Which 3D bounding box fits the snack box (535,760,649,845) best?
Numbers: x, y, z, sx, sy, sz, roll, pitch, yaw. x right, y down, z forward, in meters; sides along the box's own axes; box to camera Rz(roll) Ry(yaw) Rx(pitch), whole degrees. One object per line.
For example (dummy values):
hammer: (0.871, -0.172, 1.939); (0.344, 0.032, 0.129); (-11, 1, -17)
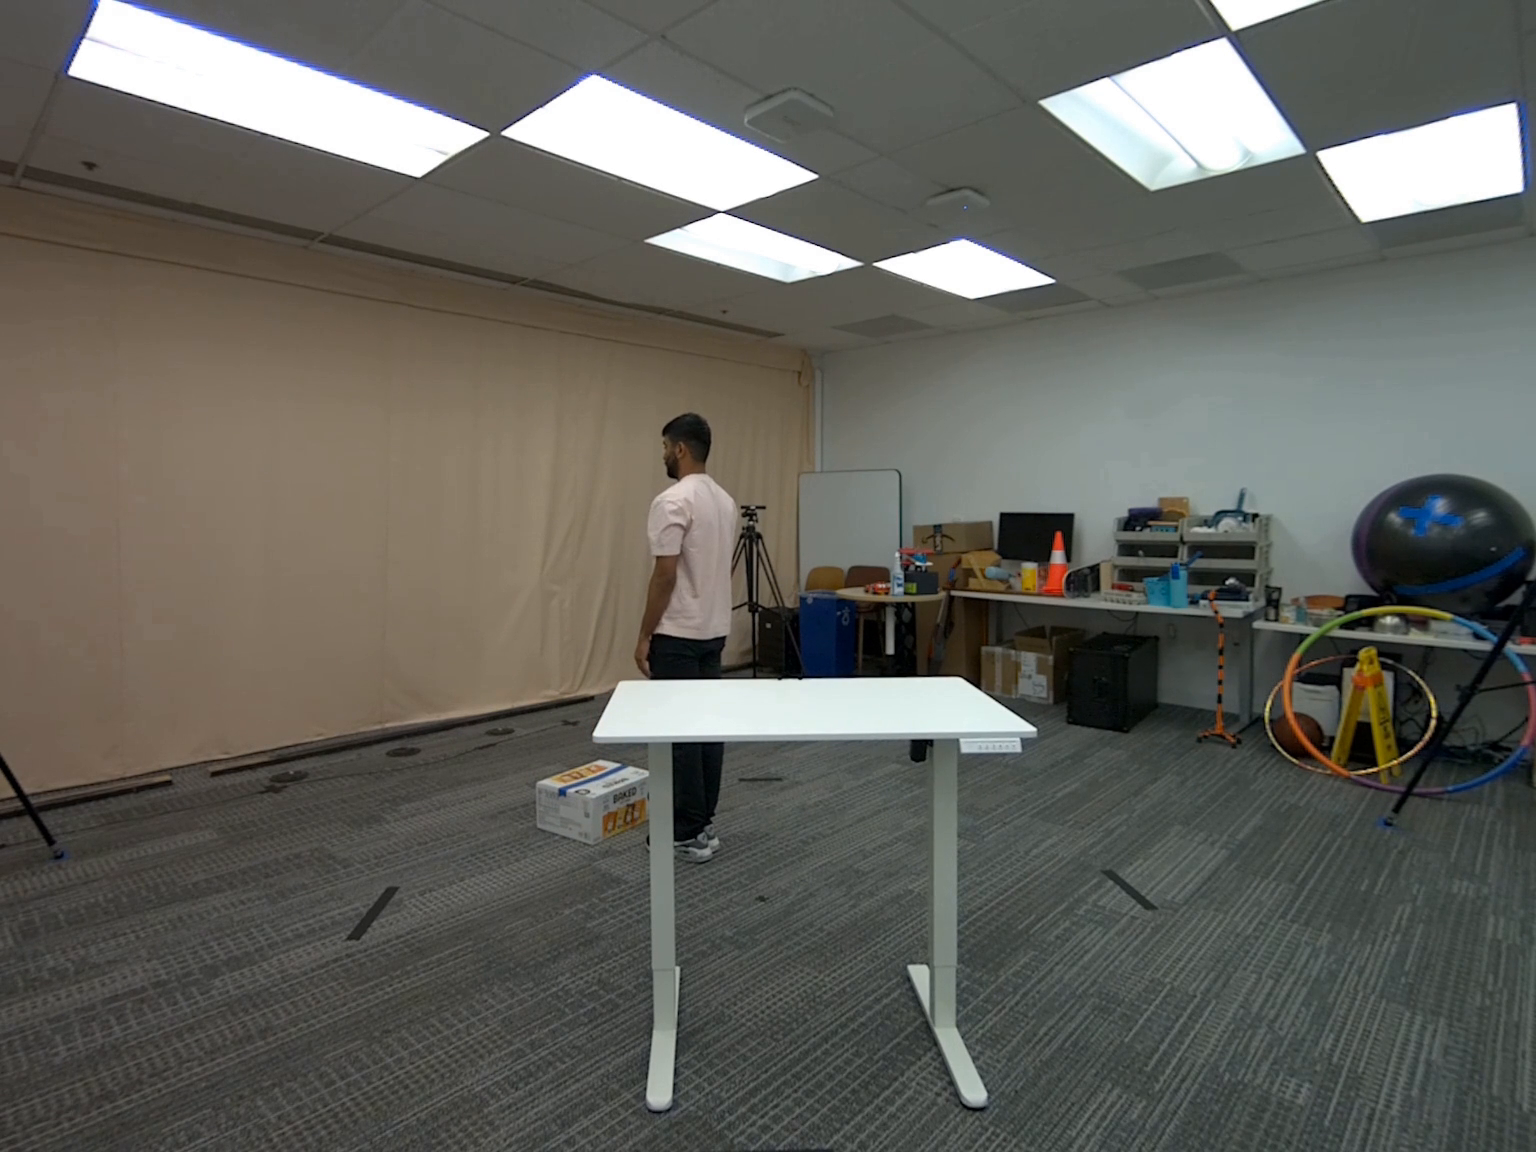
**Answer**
snack box: (-0.757, 0.989, 3.713); (0.351, 0.205, 0.394); (2, 5, 34)
